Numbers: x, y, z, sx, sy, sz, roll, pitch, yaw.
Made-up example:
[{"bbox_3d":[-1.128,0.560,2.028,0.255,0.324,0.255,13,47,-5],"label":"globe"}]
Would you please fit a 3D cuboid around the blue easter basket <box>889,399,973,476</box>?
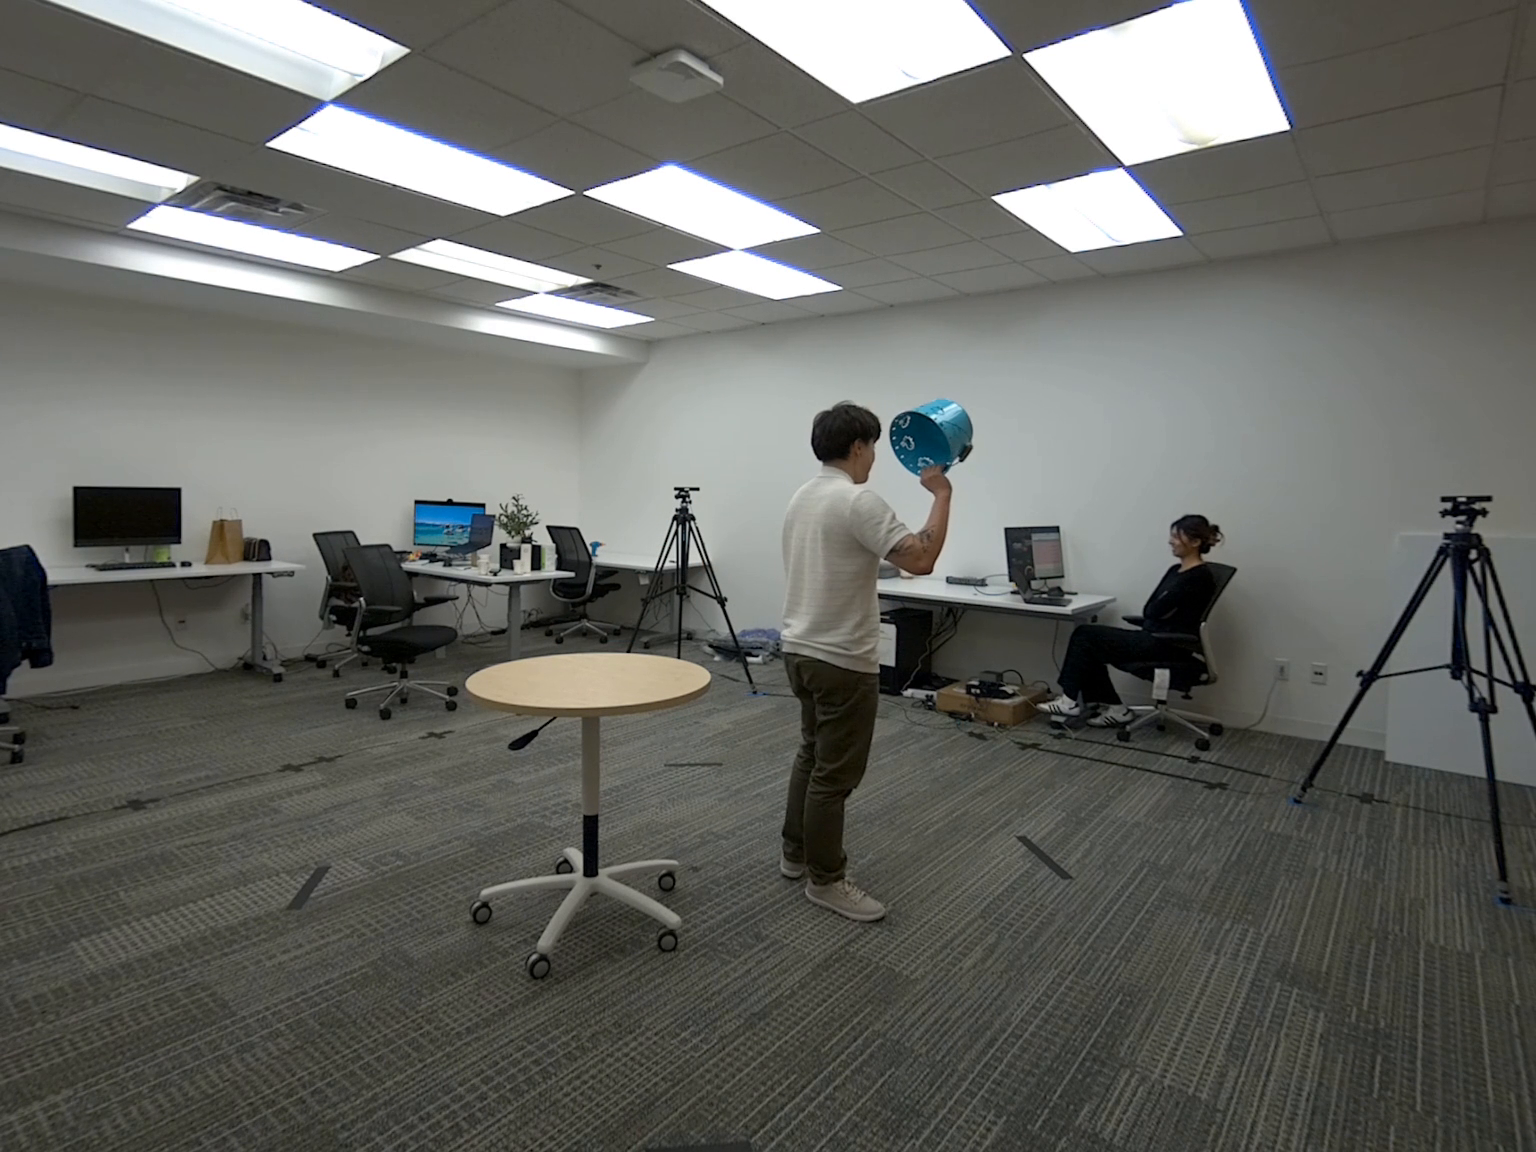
[{"bbox_3d":[0.507,-0.438,2.667,0.154,0.238,0.252,-33,23,-31],"label":"blue easter basket"}]
